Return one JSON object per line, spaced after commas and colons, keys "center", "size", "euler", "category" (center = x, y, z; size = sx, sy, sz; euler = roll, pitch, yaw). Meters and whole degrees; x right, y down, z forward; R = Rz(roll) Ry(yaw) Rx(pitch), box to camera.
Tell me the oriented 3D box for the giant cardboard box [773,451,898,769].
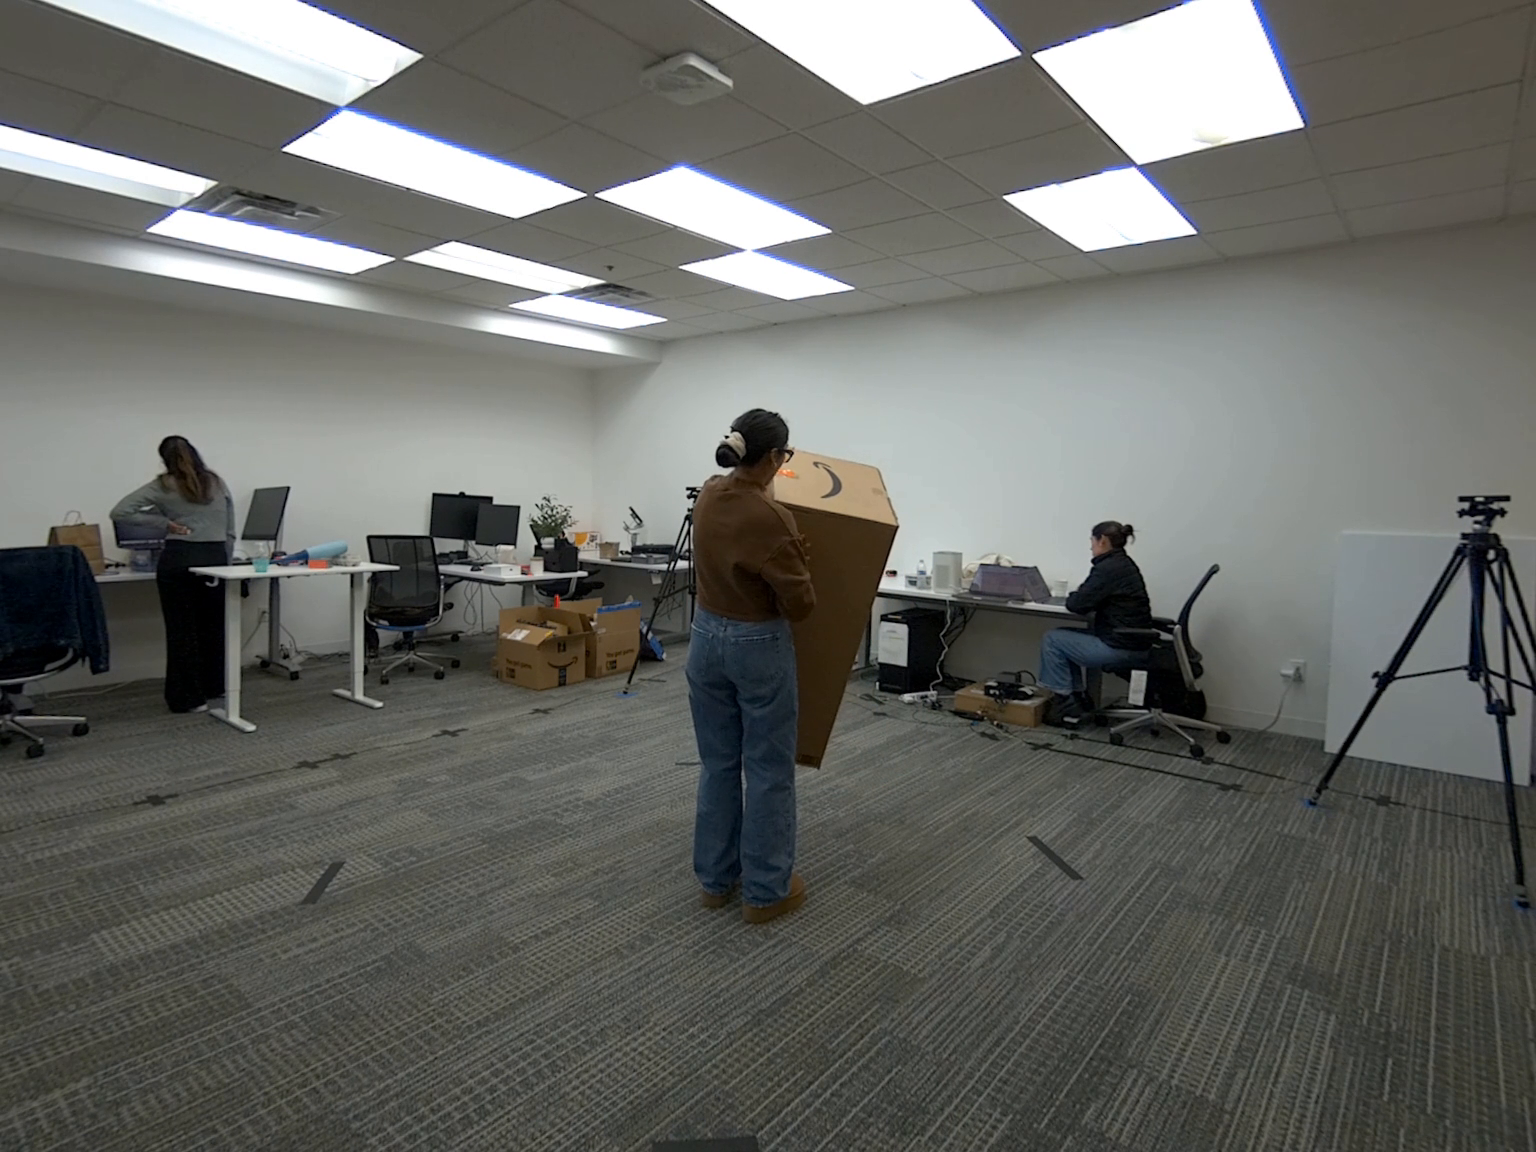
{"center": [0.098, 0.112, 3.214], "size": [0.425, 1.010, 0.589], "euler": [13, 25, -4], "category": "giant cardboard box"}
